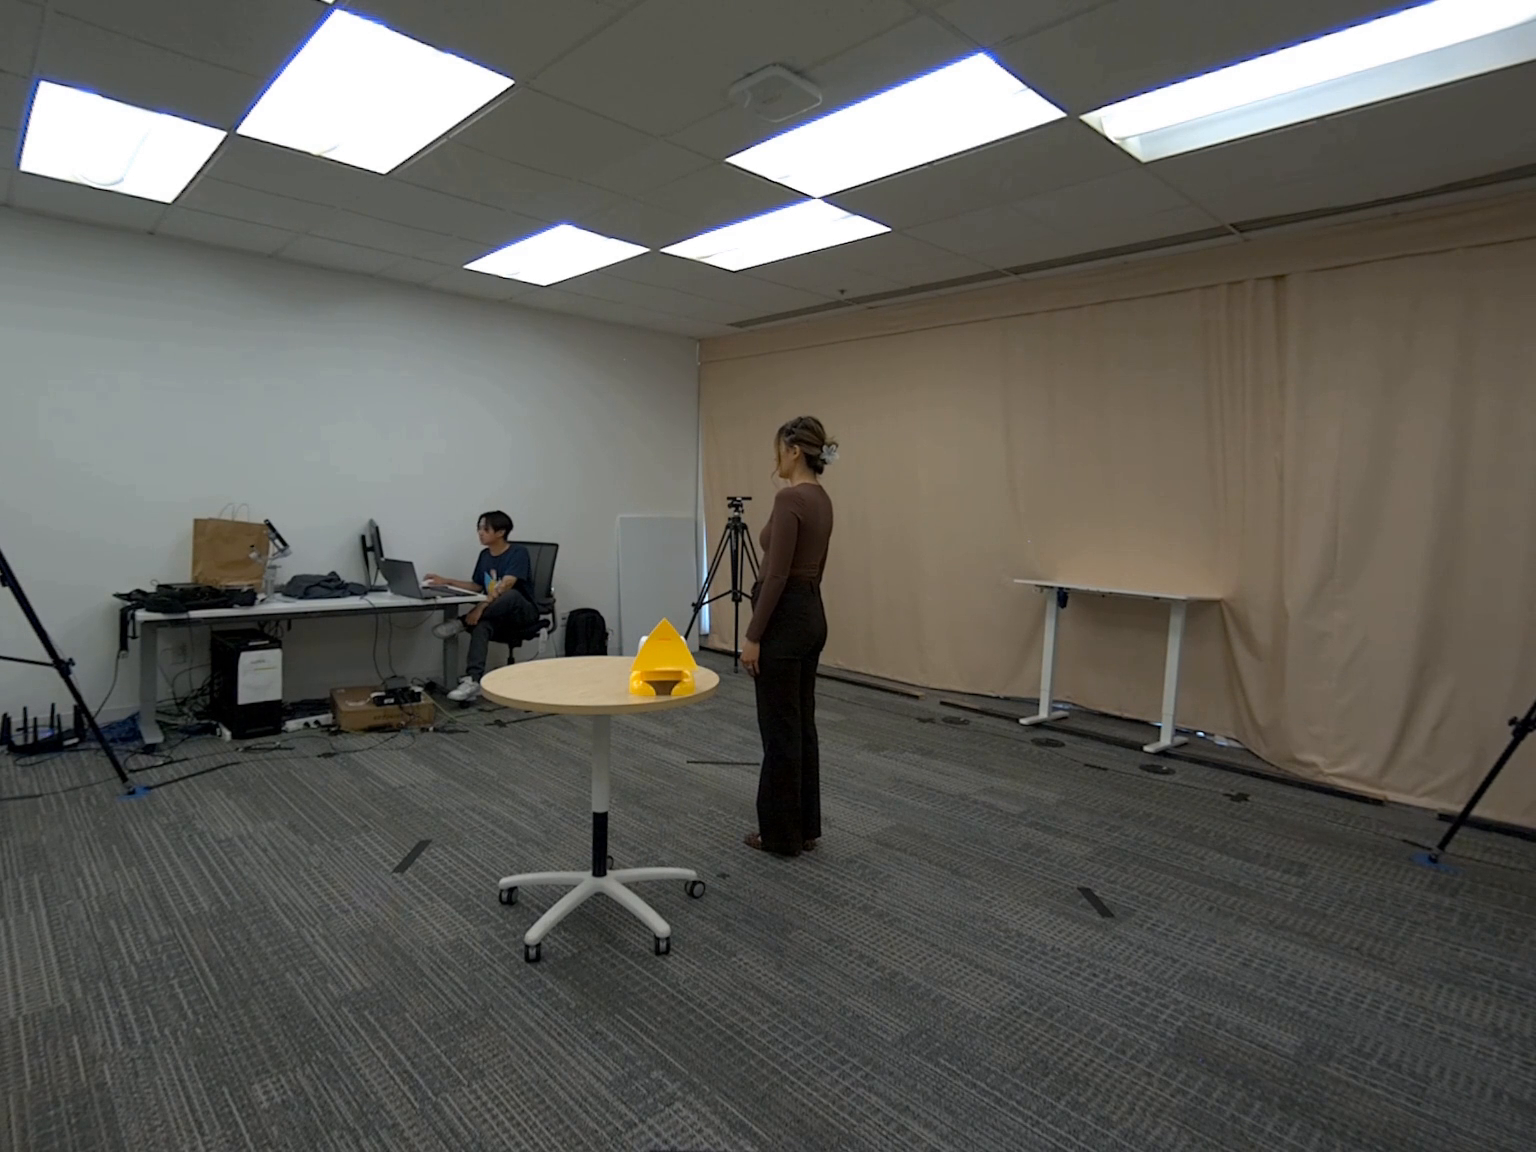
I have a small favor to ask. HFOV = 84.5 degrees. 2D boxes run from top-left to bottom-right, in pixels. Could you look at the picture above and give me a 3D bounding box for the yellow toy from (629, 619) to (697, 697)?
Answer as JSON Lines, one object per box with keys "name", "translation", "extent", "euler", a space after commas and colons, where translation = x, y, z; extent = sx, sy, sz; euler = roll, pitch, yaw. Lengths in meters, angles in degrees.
{"name": "yellow toy", "translation": [-0.332, 0.238, 2.565], "extent": [0.203, 0.230, 0.195], "euler": [1, 4, -11]}
